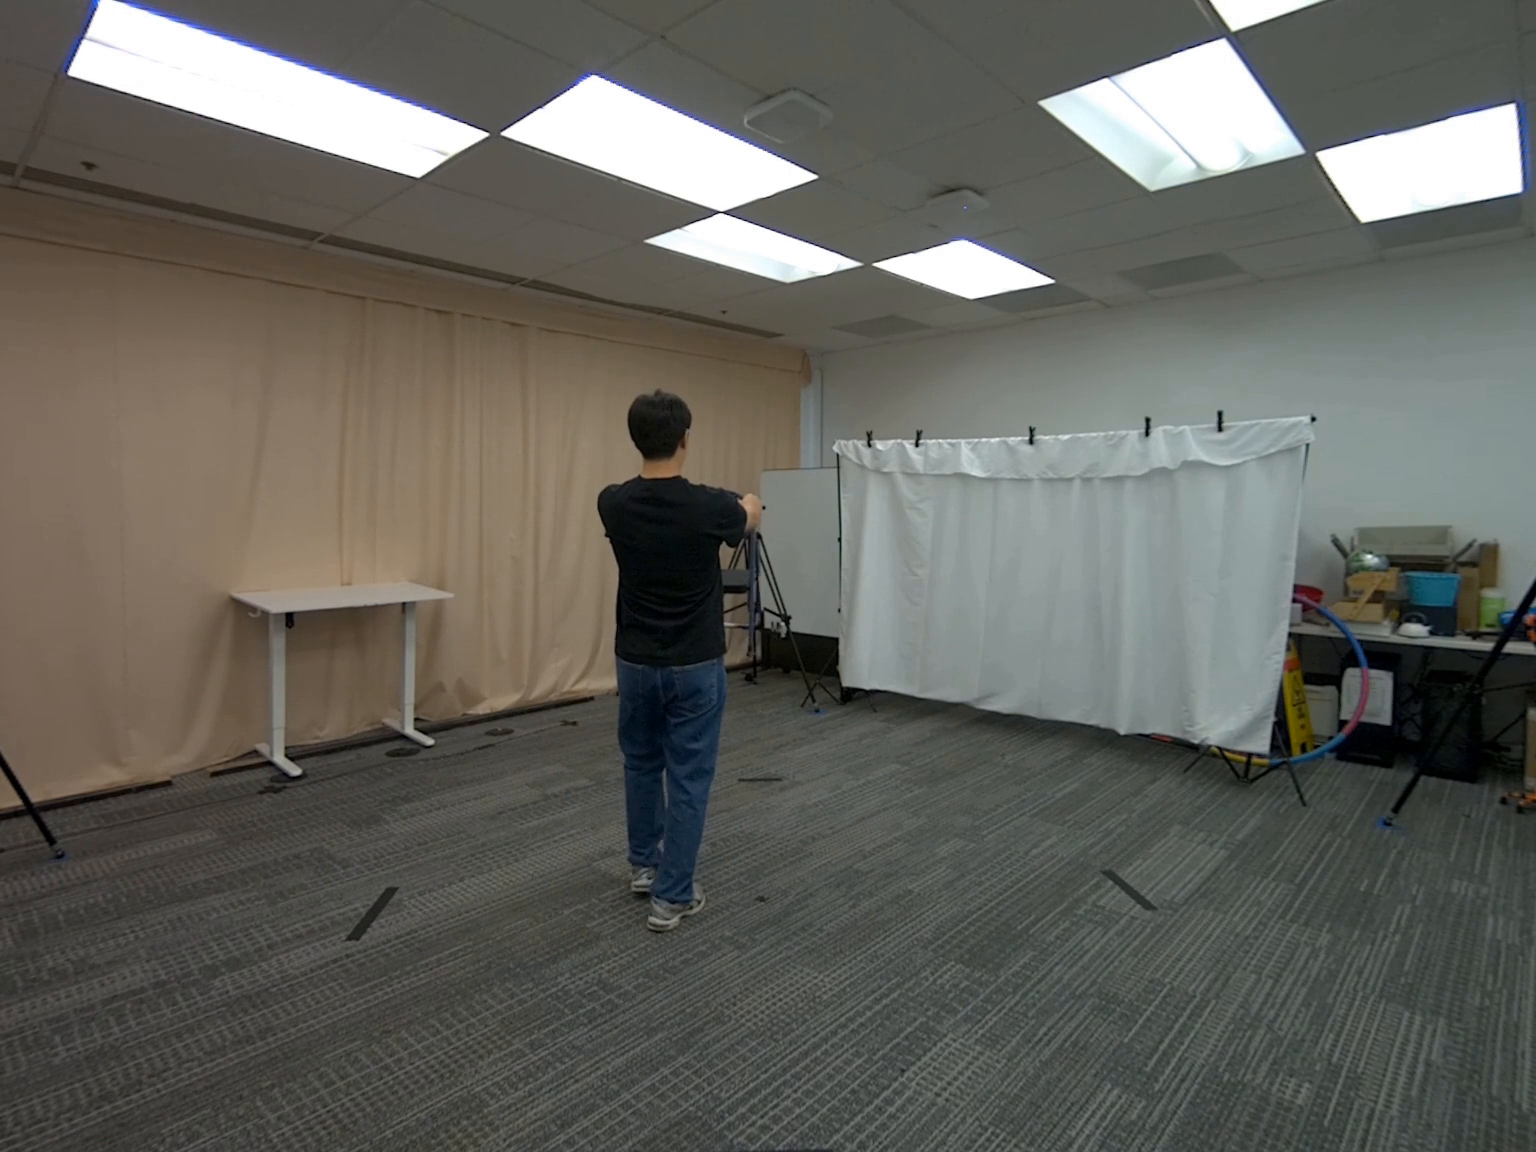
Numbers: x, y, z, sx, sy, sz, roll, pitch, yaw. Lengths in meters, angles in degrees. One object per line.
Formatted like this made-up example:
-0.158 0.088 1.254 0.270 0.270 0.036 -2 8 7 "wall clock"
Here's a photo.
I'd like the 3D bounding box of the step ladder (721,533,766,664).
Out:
-0.242 -0.034 3.342 0.436 0.602 0.347 0 10 10 "step ladder"
